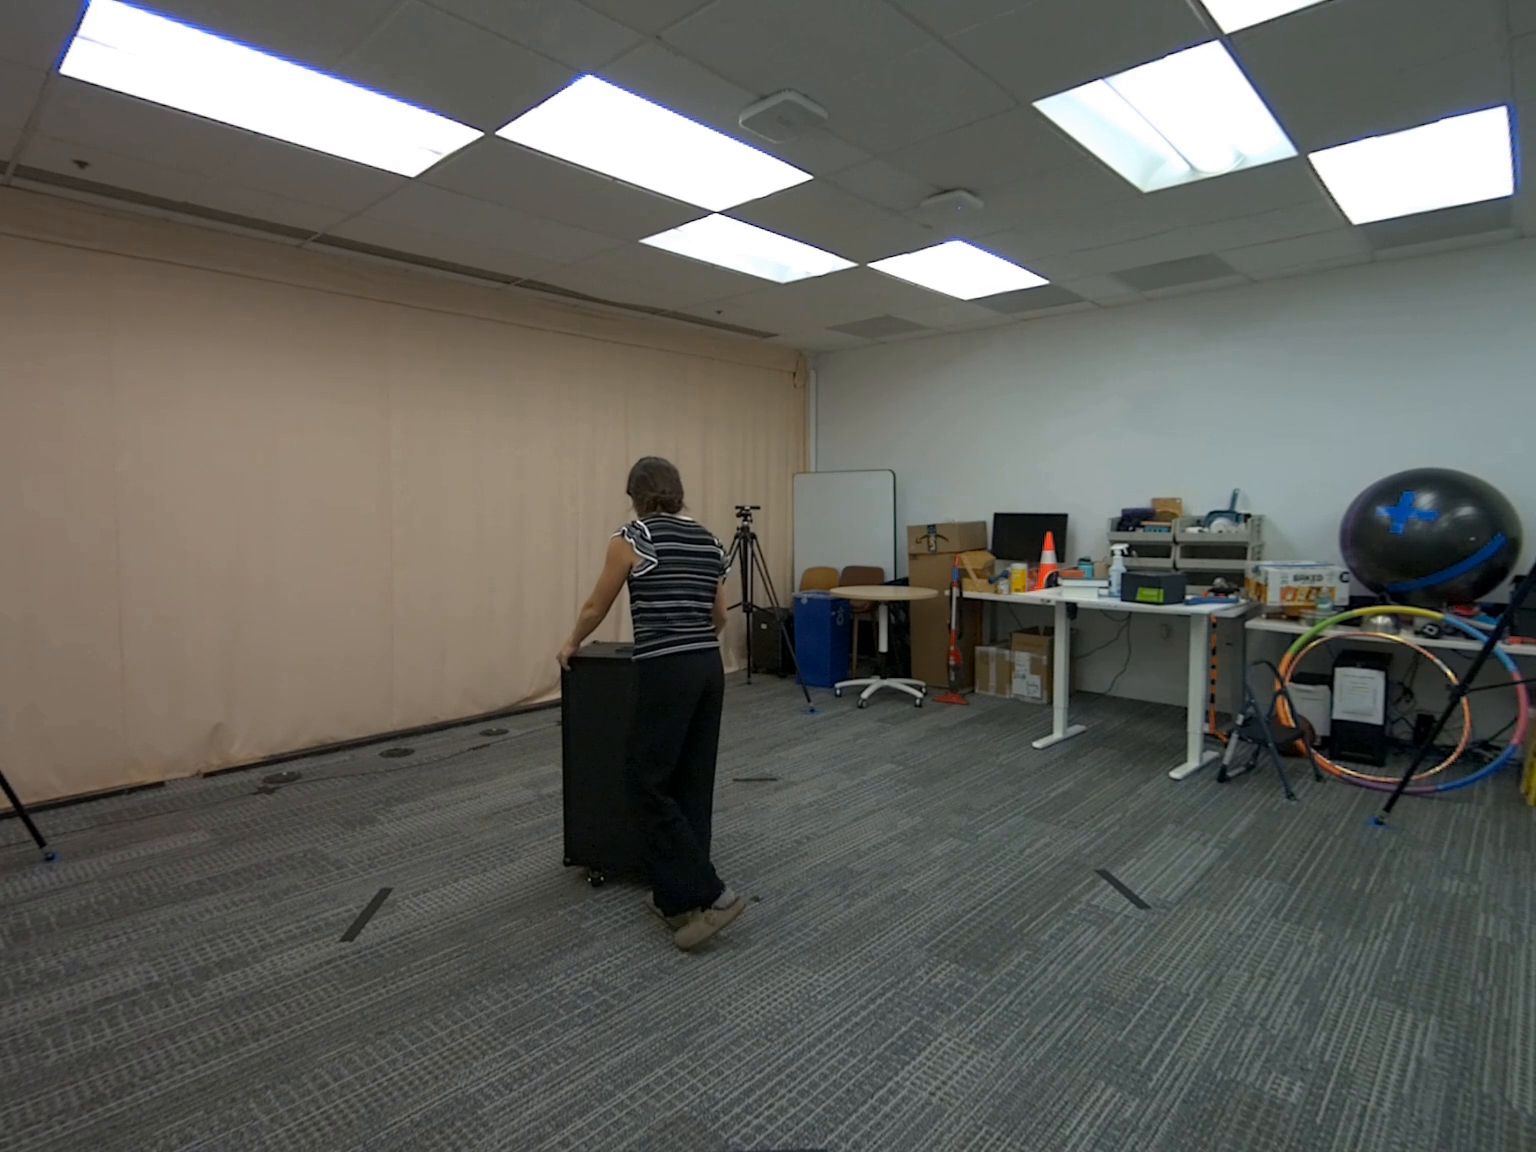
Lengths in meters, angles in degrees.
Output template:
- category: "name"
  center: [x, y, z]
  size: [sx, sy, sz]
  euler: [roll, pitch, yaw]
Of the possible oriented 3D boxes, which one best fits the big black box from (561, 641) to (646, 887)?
- category: "big black box"
  center: [-0.497, 0.705, 3.221]
  size: [0.529, 0.860, 0.391]
  euler: [1, 2, 13]
